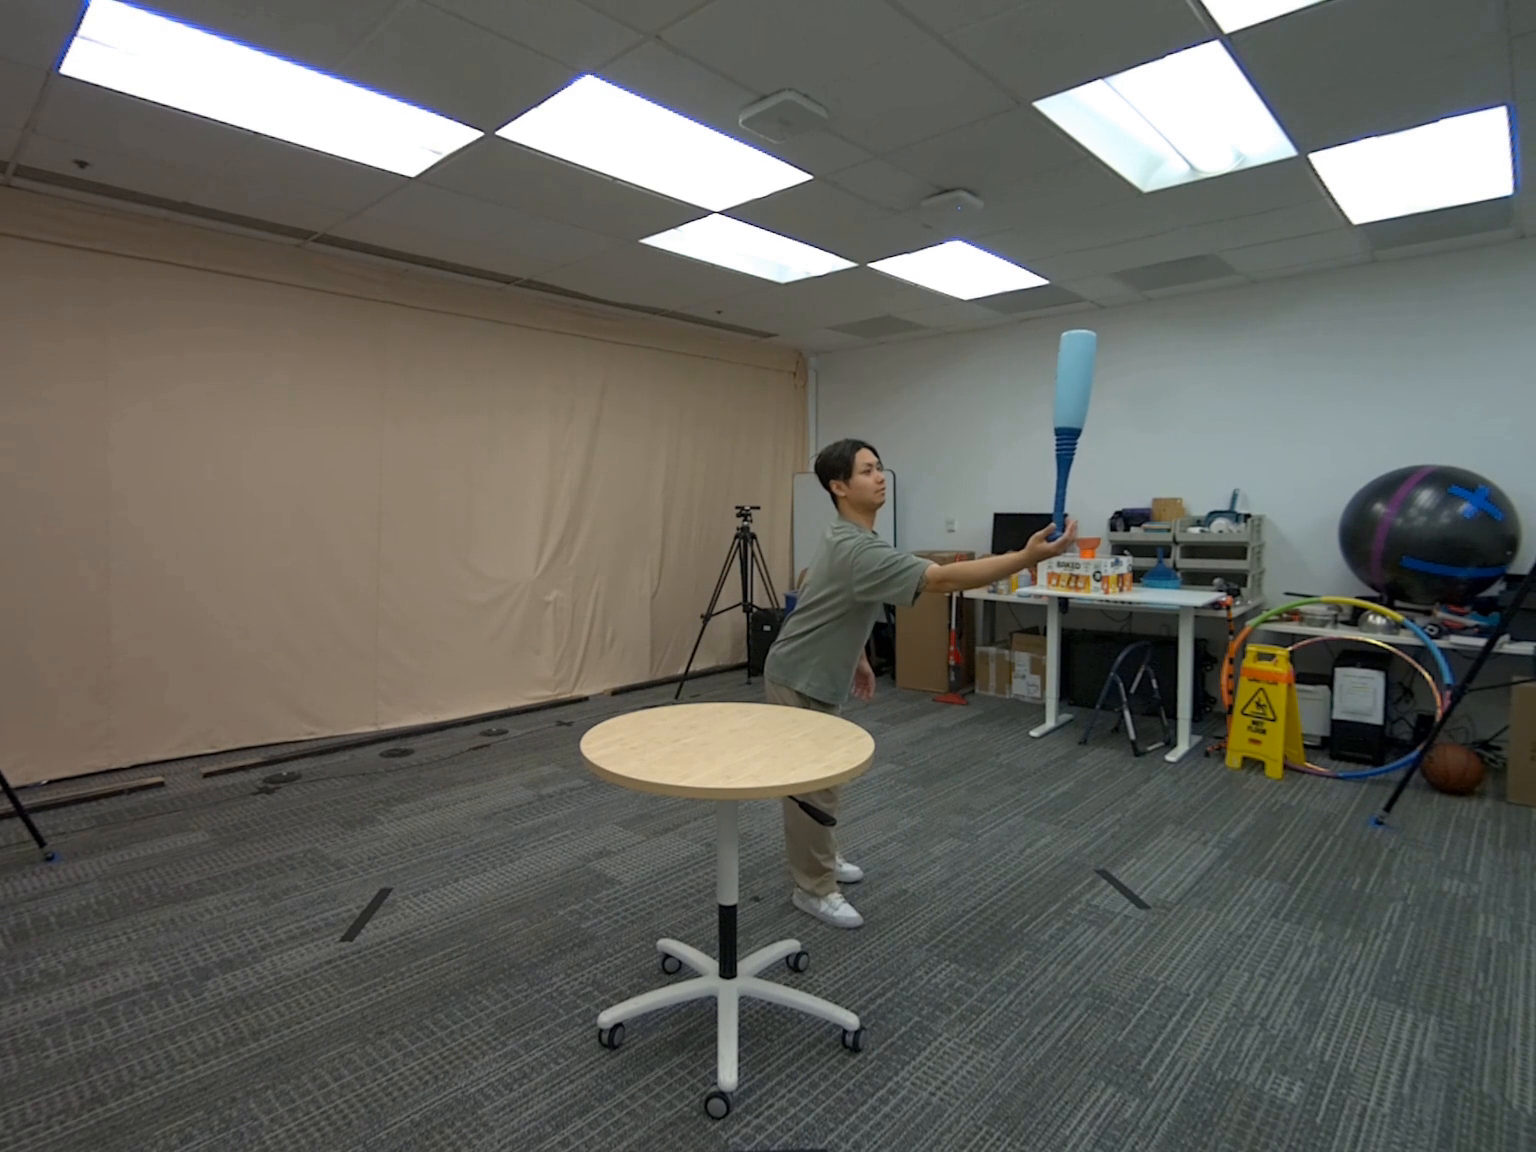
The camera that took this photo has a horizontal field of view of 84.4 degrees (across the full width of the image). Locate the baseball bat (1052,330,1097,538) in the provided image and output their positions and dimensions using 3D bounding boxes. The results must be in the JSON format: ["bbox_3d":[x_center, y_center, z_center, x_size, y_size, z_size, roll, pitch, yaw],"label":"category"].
[{"bbox_3d":[0.776,-0.355,2.149,0.089,0.542,0.089,6,1,-2],"label":"baseball bat"}]
